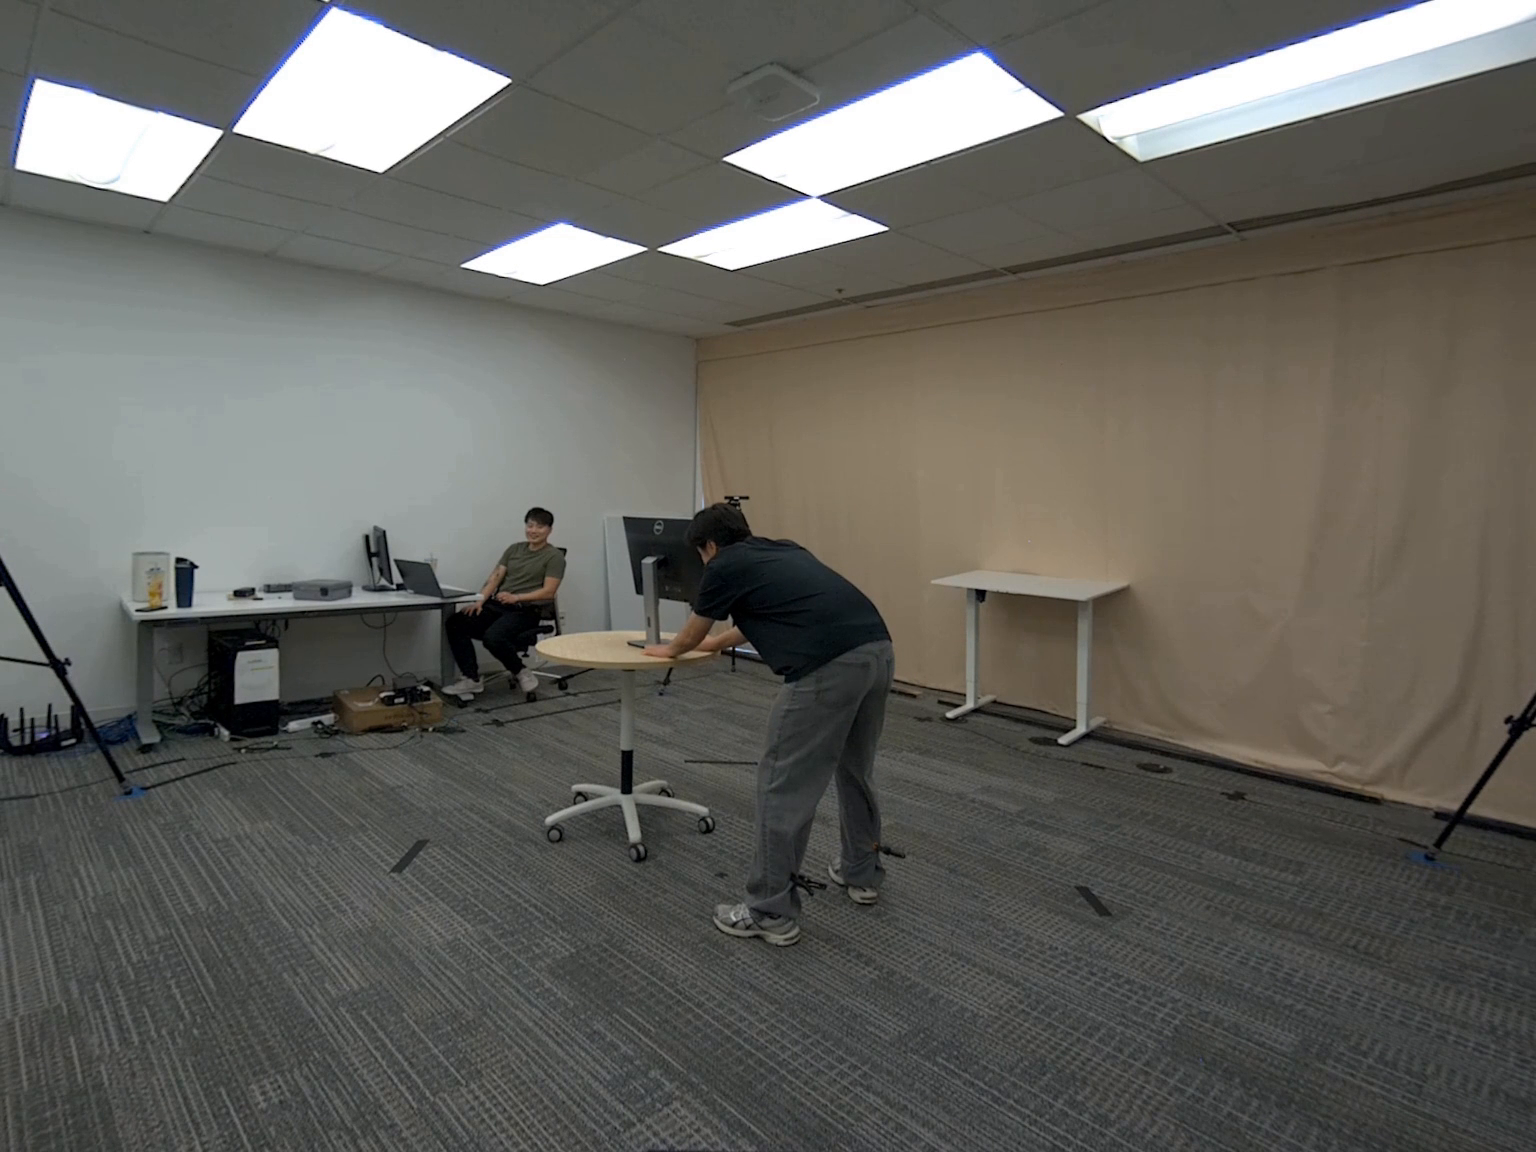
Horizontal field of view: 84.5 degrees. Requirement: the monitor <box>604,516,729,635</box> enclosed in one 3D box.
[{"bbox_3d":[-0.460,0.027,3.472,0.206,0.550,0.580,-10,11,-43],"label":"monitor"}]
